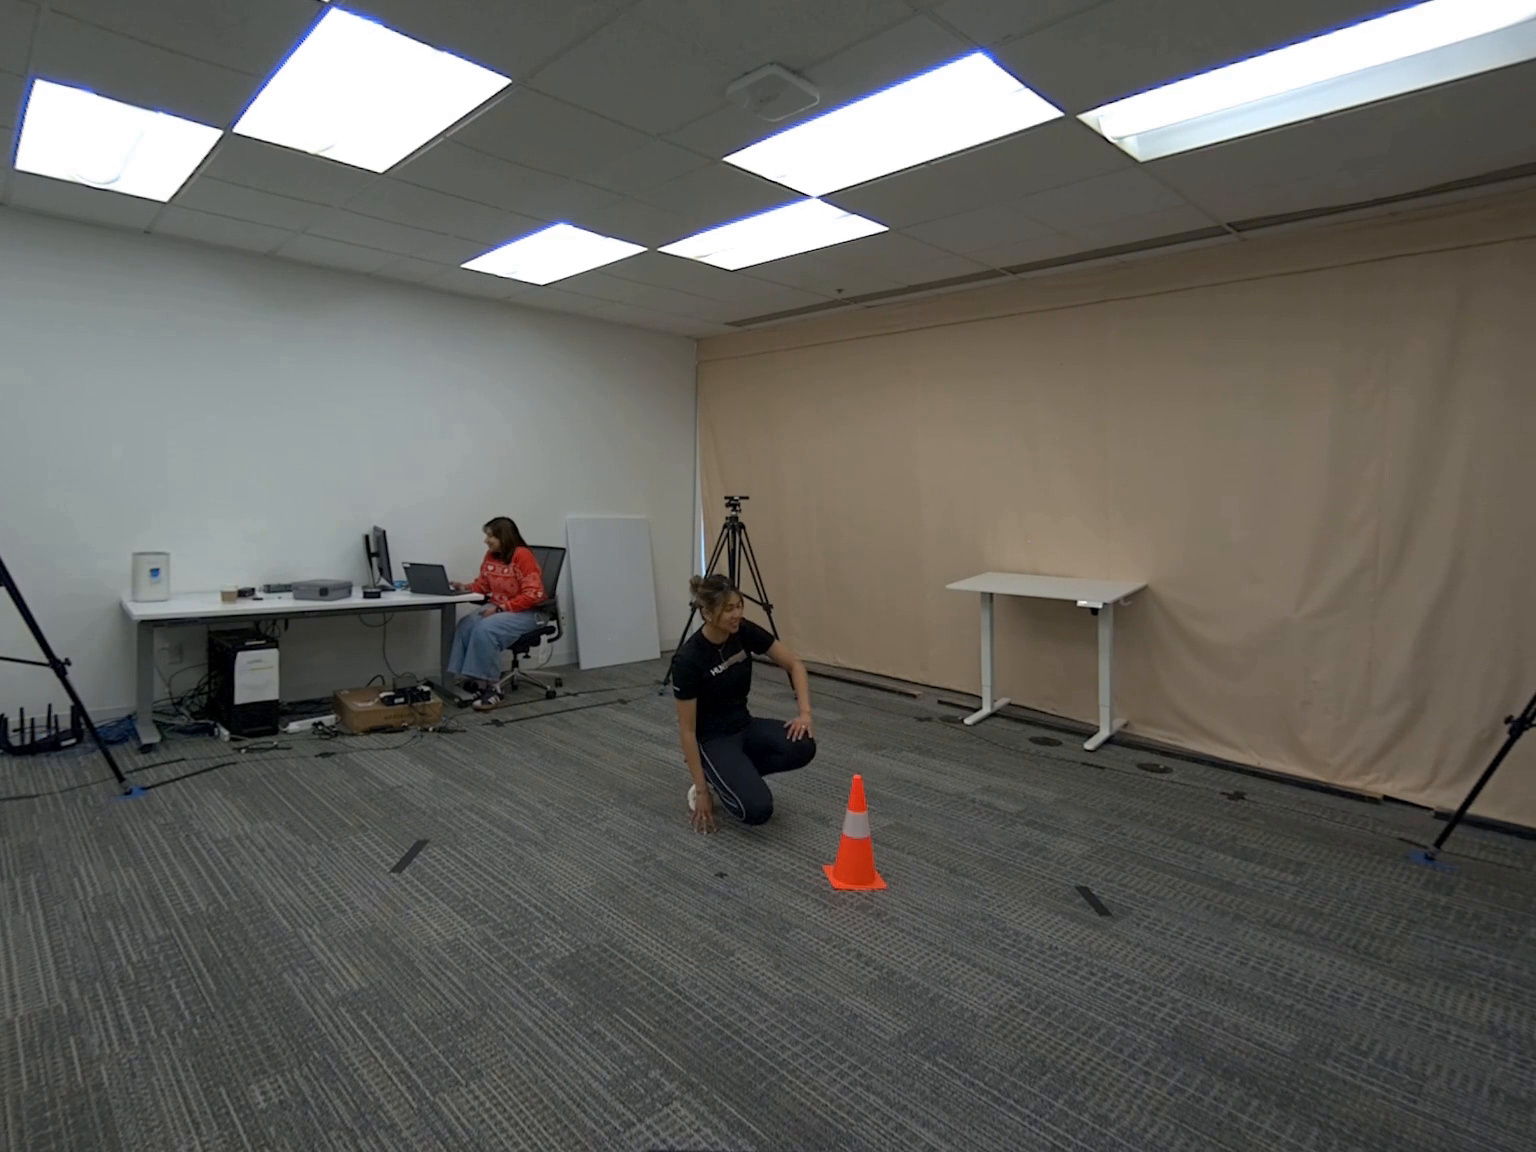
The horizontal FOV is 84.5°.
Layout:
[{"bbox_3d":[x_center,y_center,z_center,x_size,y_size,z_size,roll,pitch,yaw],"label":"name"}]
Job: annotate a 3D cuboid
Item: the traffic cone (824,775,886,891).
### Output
[{"bbox_3d":[0.321,0.927,3.108,0.202,0.383,0.206,4,1,-6],"label":"traffic cone"}]
